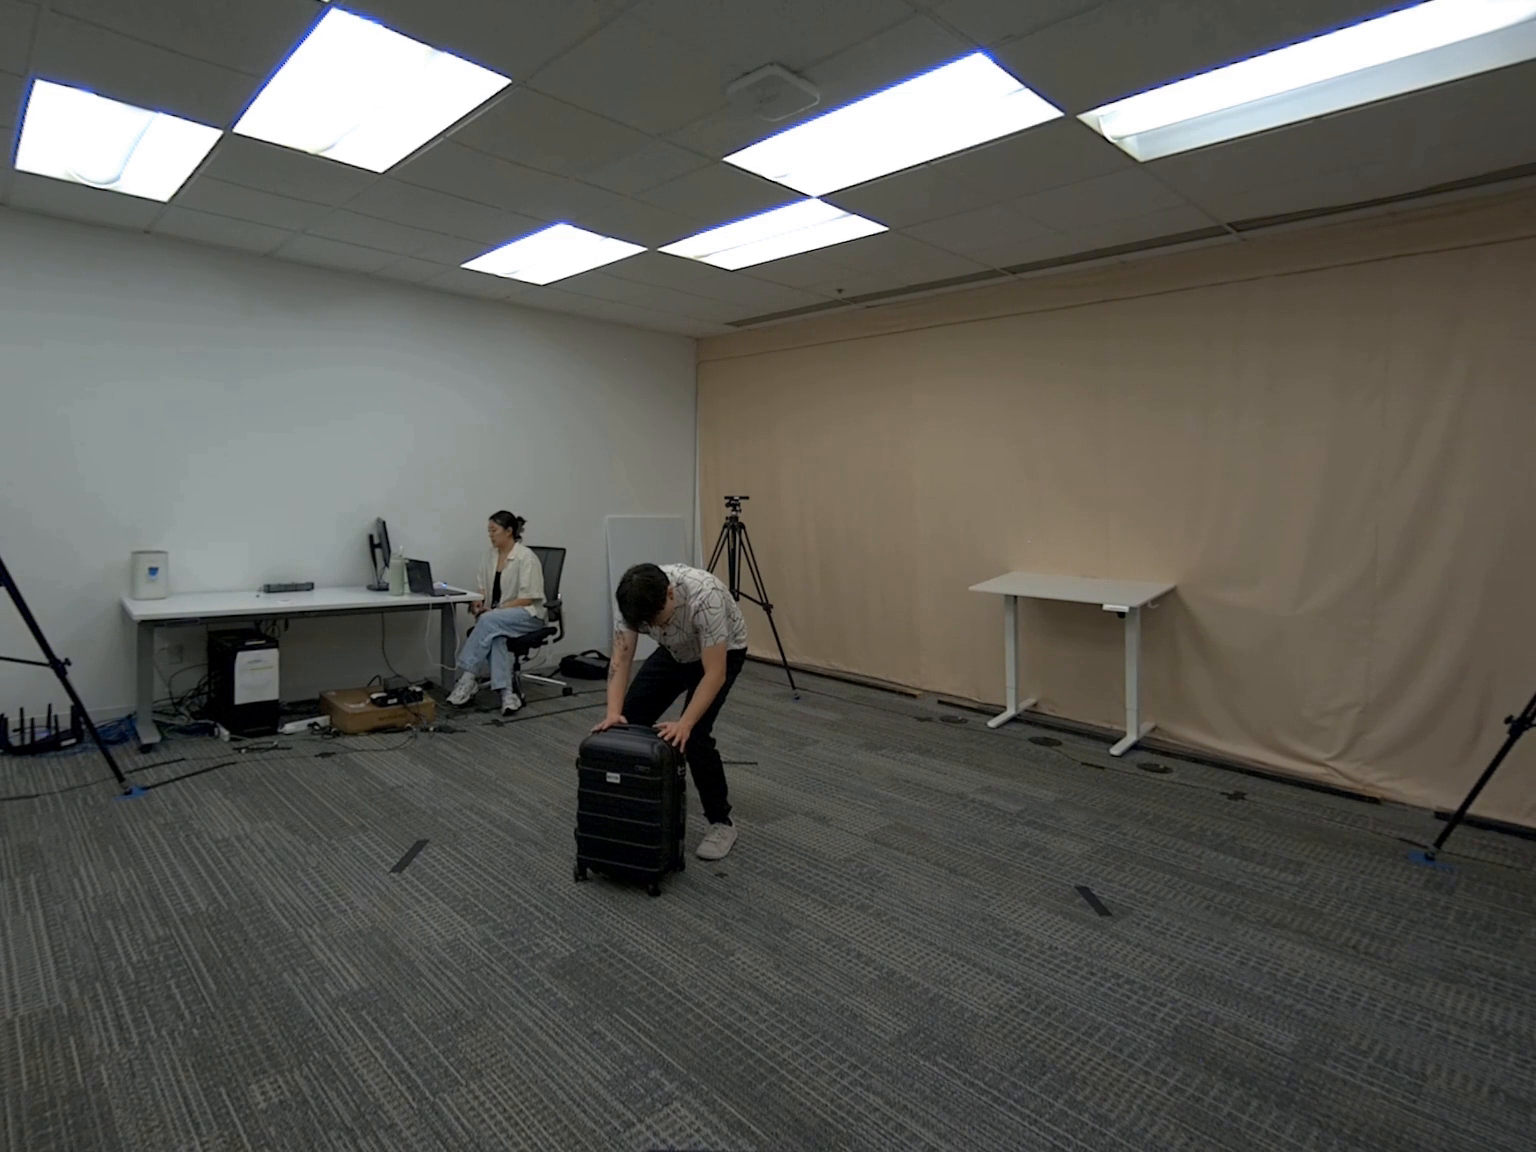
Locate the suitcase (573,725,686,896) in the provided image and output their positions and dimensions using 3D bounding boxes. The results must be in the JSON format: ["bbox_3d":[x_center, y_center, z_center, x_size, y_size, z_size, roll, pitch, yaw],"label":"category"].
[{"bbox_3d":[-0.503,0.828,3.048,0.381,0.547,0.245,3,6,20],"label":"suitcase"}]
